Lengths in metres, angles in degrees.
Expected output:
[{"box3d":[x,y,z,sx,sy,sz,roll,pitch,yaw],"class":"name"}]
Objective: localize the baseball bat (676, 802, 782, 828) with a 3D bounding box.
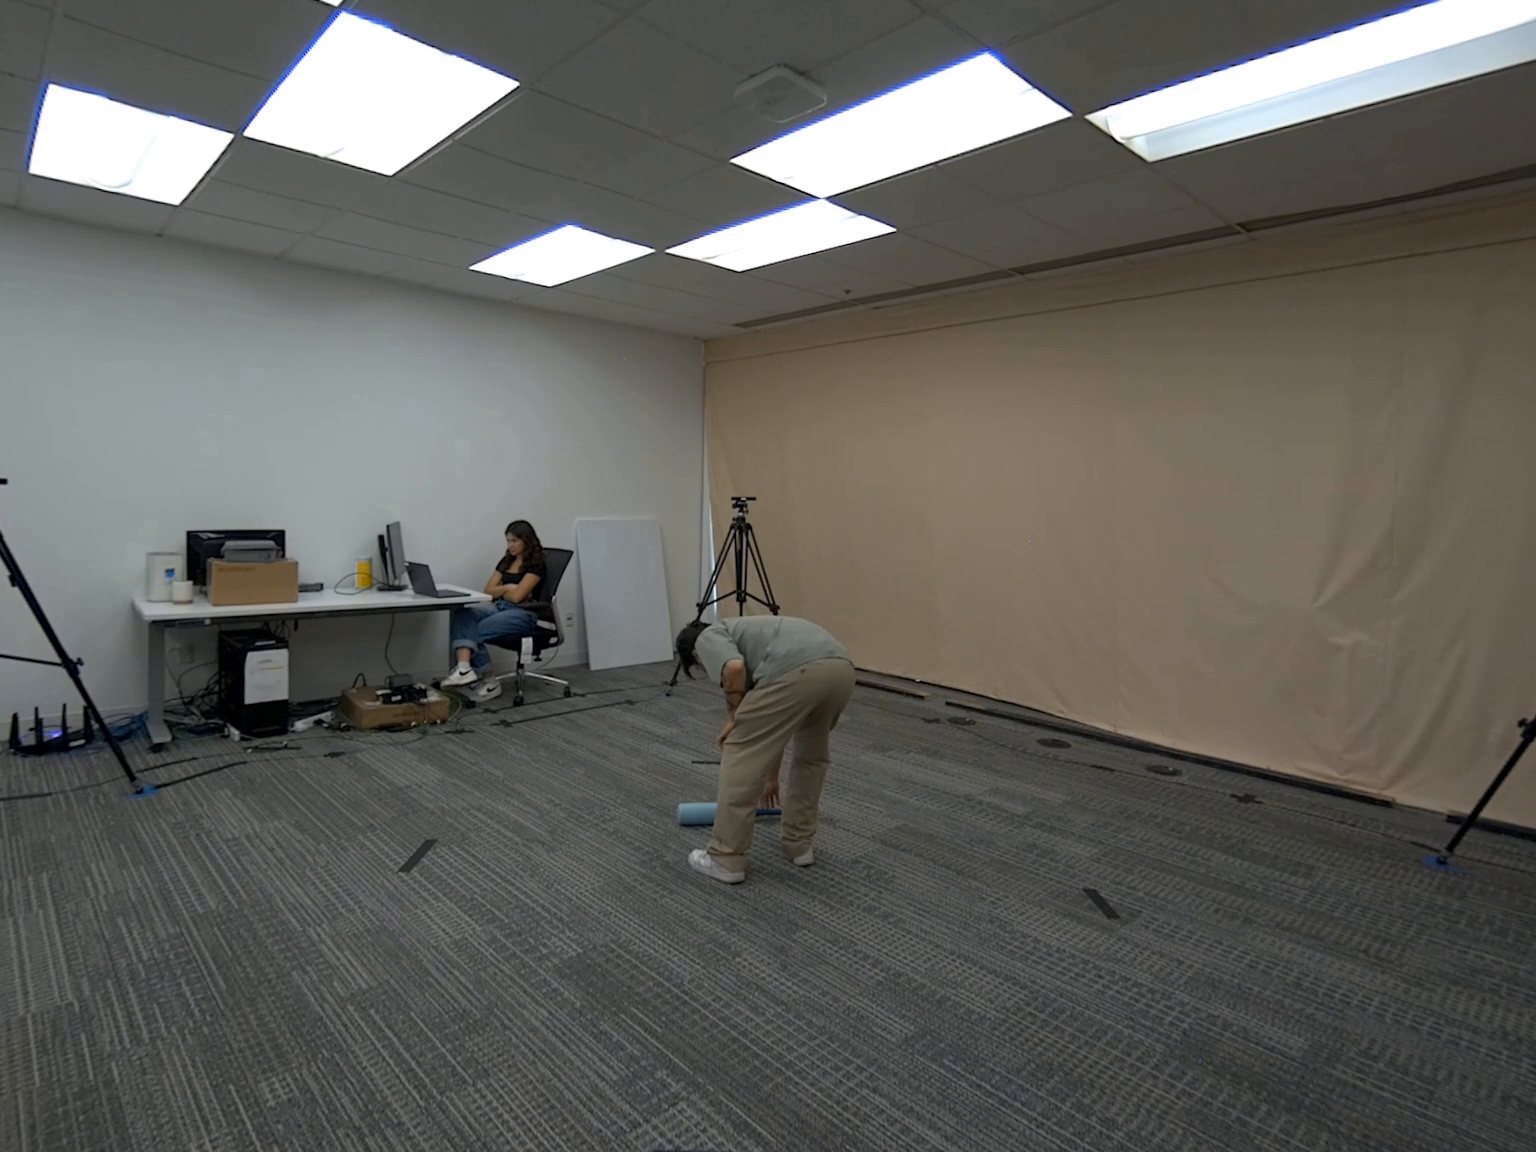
[{"box3d":[-0.132,1.021,3.629,0.538,0.089,0.090,2,4,-12],"class":"baseball bat"}]
